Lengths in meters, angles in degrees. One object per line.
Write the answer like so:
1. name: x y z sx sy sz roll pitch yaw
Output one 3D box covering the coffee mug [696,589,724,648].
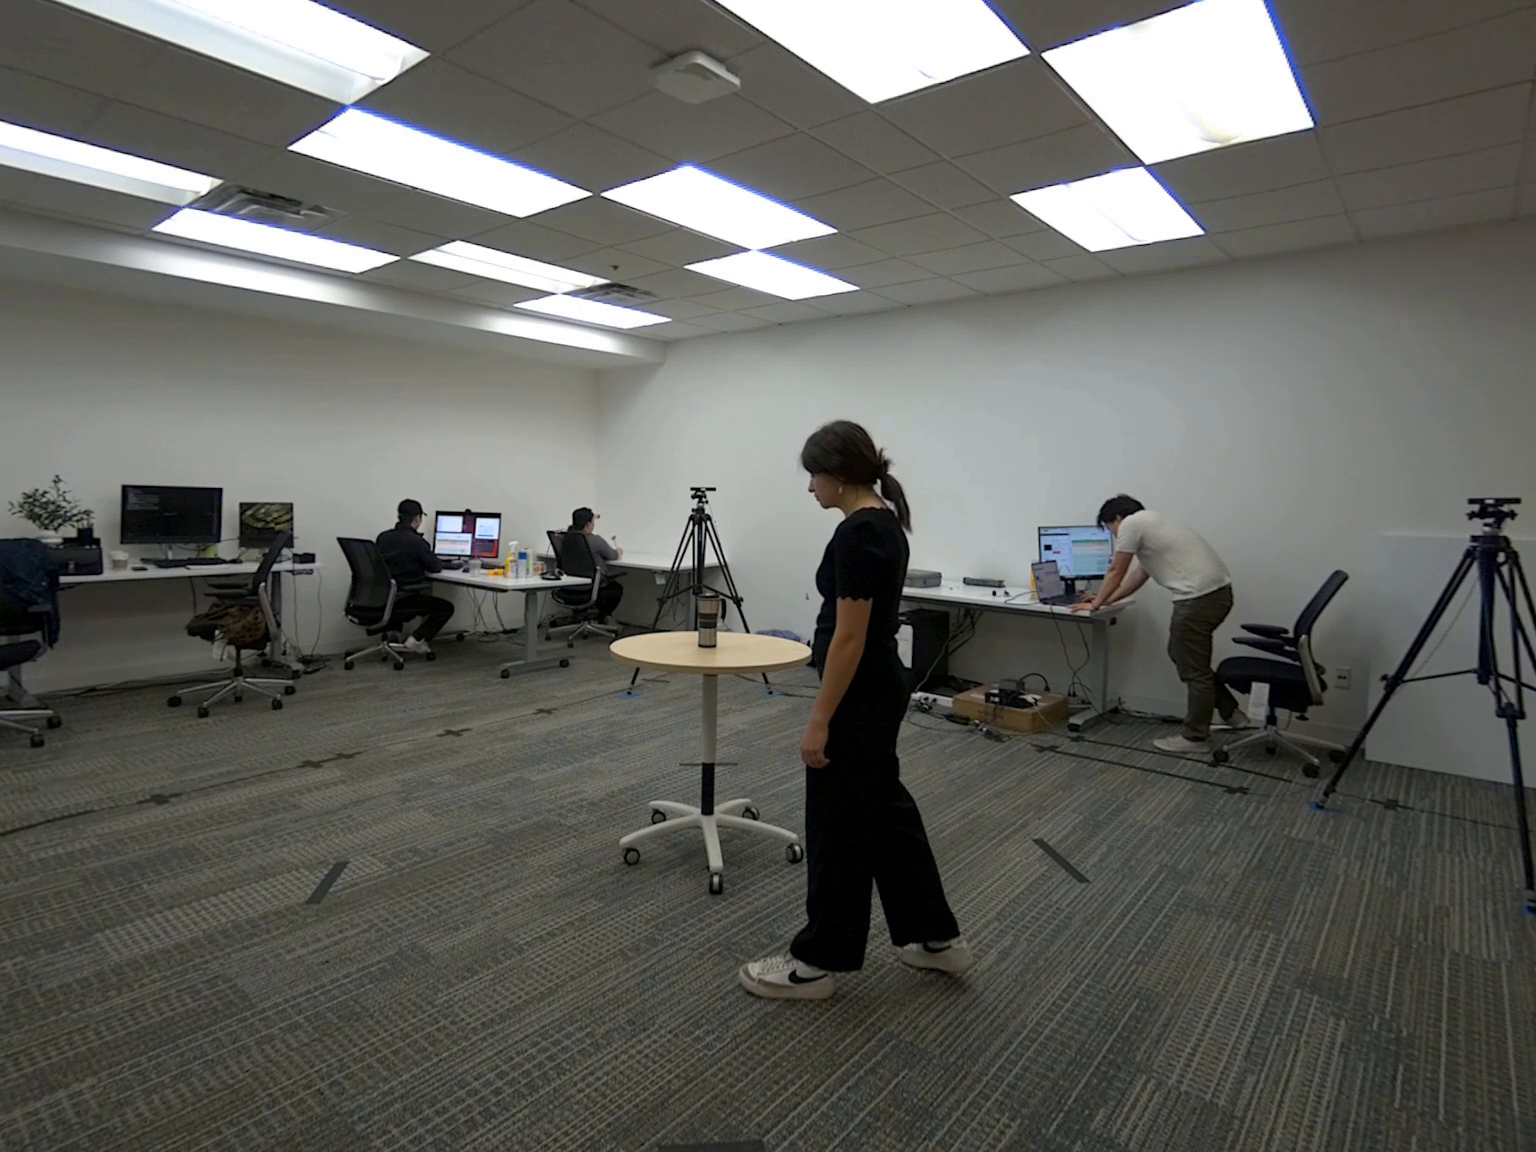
1. coffee mug: -0.224 0.169 3.240 0.124 0.203 0.086 -1 -1 20
